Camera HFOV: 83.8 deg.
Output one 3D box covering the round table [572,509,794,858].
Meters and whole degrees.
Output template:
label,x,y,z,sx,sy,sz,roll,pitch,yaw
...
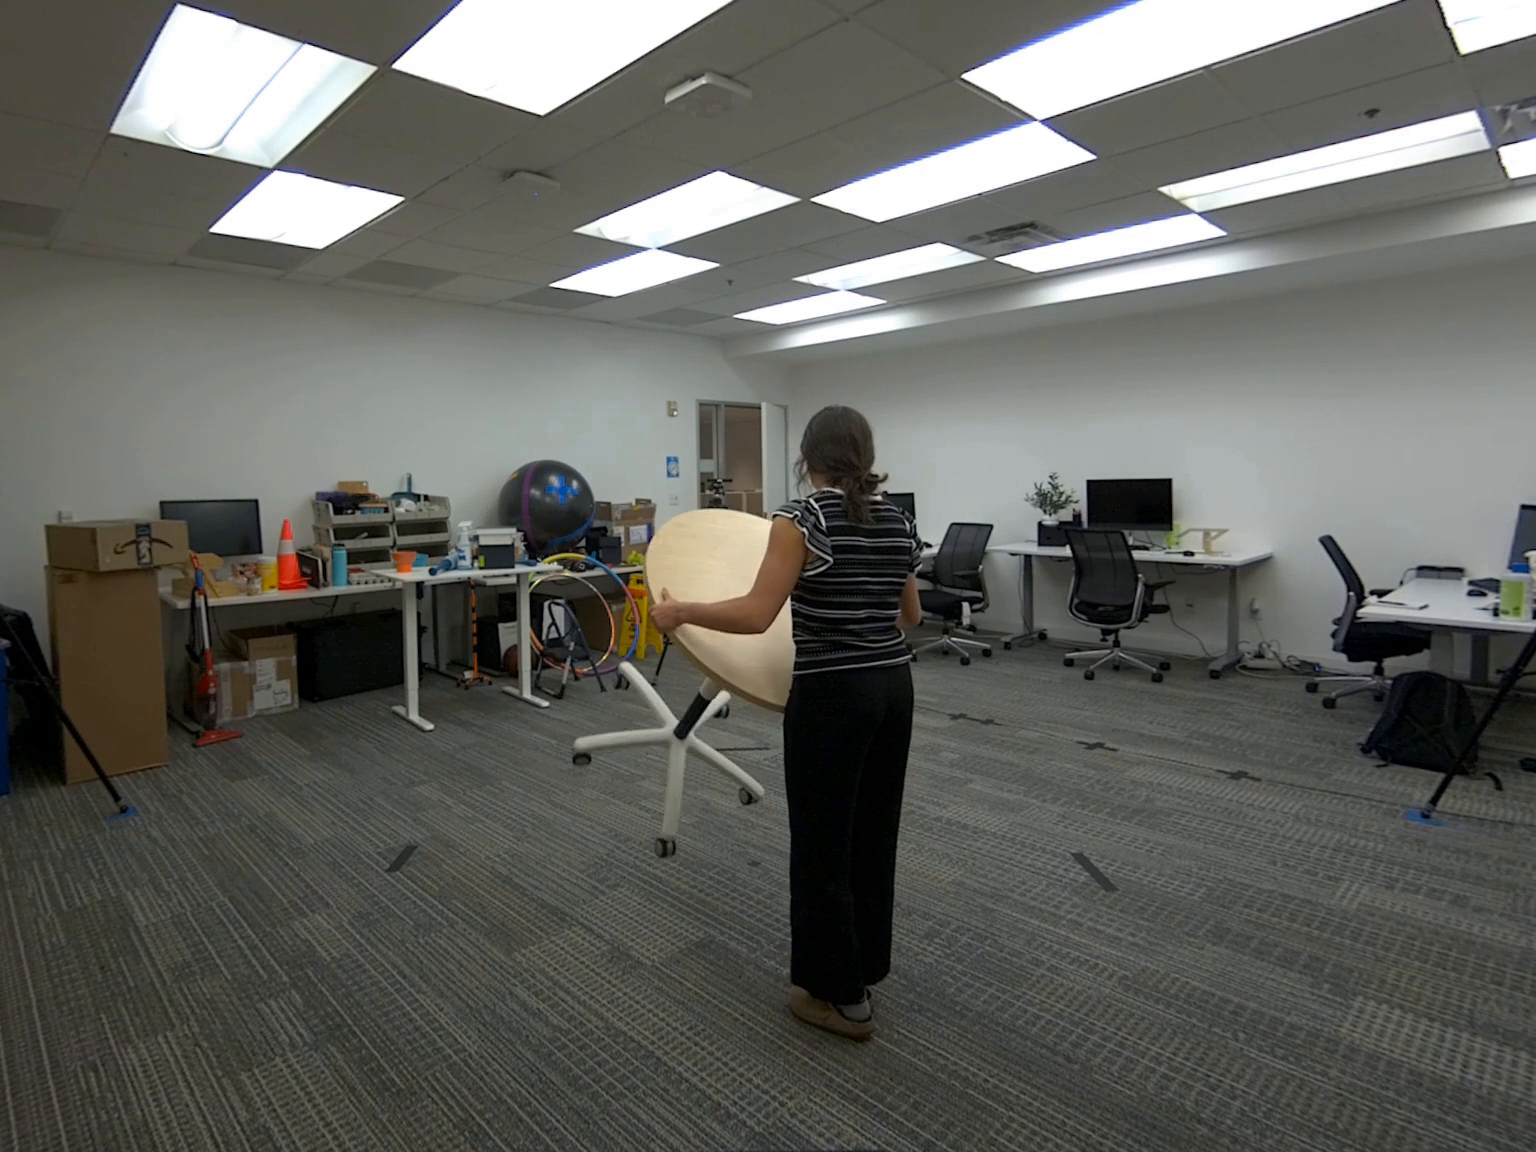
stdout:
label,x,y,z,sx,sy,sz,roll,pitch,yaw
round table,-0.164,0.353,2.677,0.749,0.788,0.785,20,36,-17
